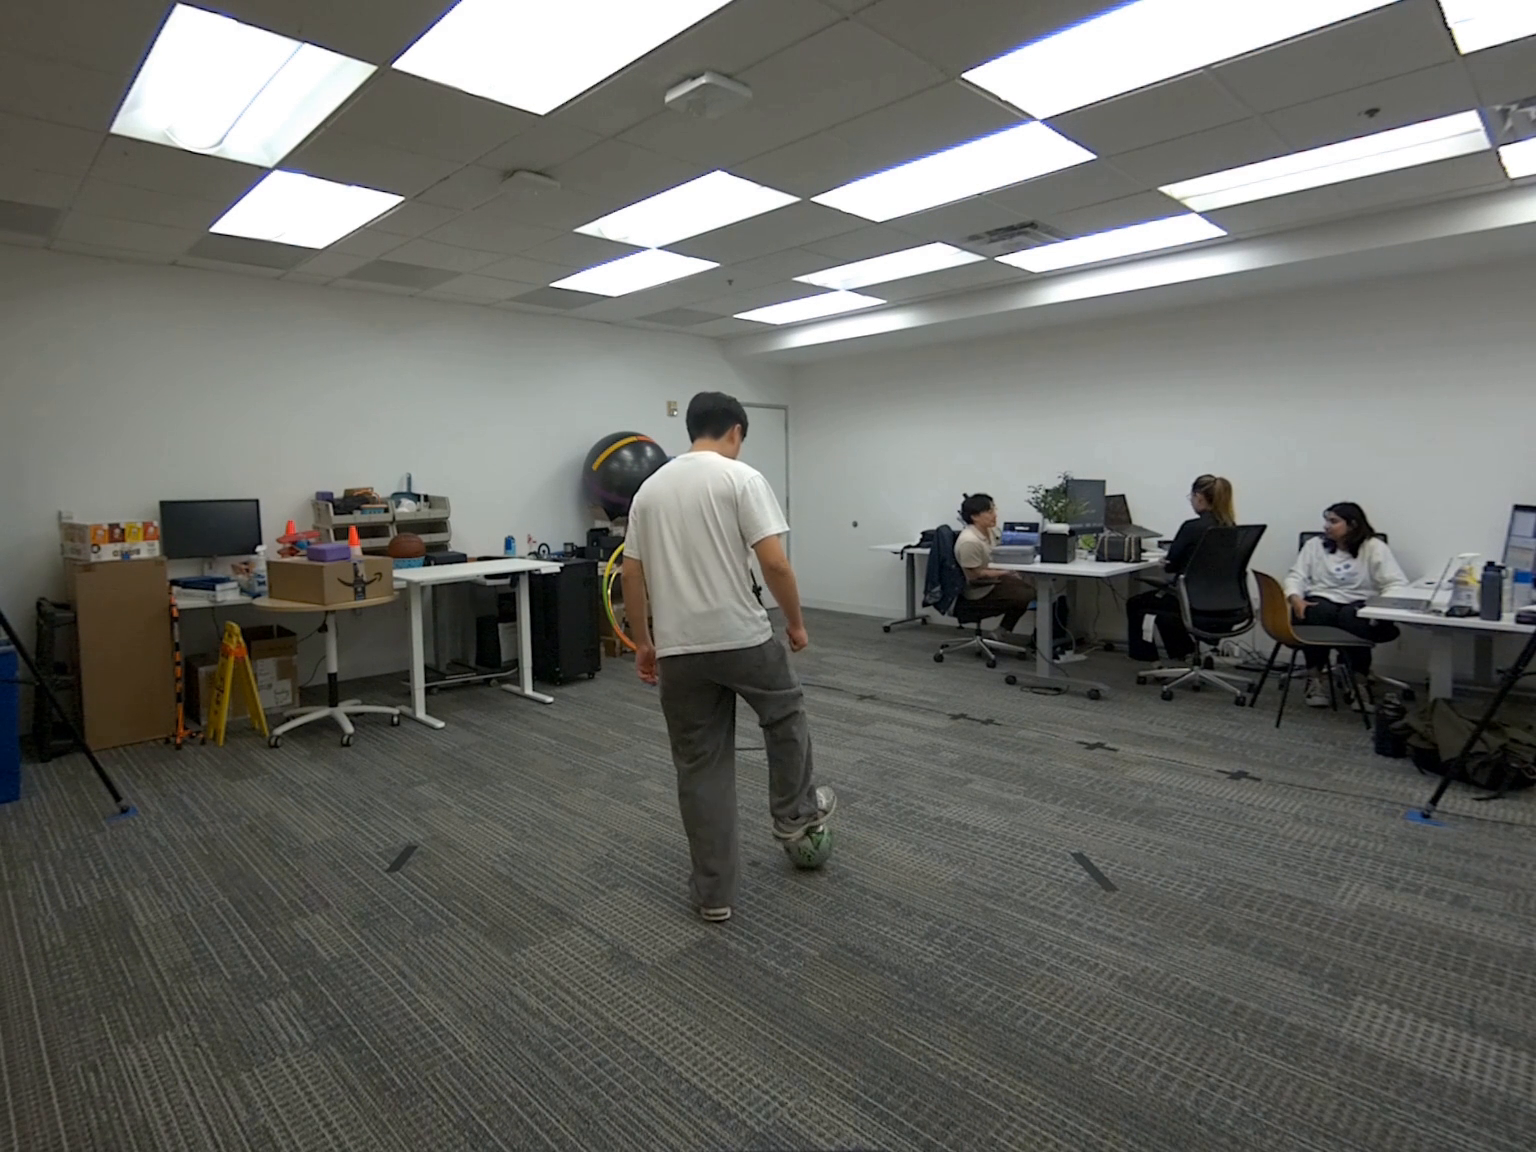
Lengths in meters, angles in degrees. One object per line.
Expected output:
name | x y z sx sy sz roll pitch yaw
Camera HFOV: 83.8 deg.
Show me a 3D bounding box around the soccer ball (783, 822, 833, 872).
soccer ball | 0.145 0.954 3.082 0.187 0.187 0.188 -1 5 -2
